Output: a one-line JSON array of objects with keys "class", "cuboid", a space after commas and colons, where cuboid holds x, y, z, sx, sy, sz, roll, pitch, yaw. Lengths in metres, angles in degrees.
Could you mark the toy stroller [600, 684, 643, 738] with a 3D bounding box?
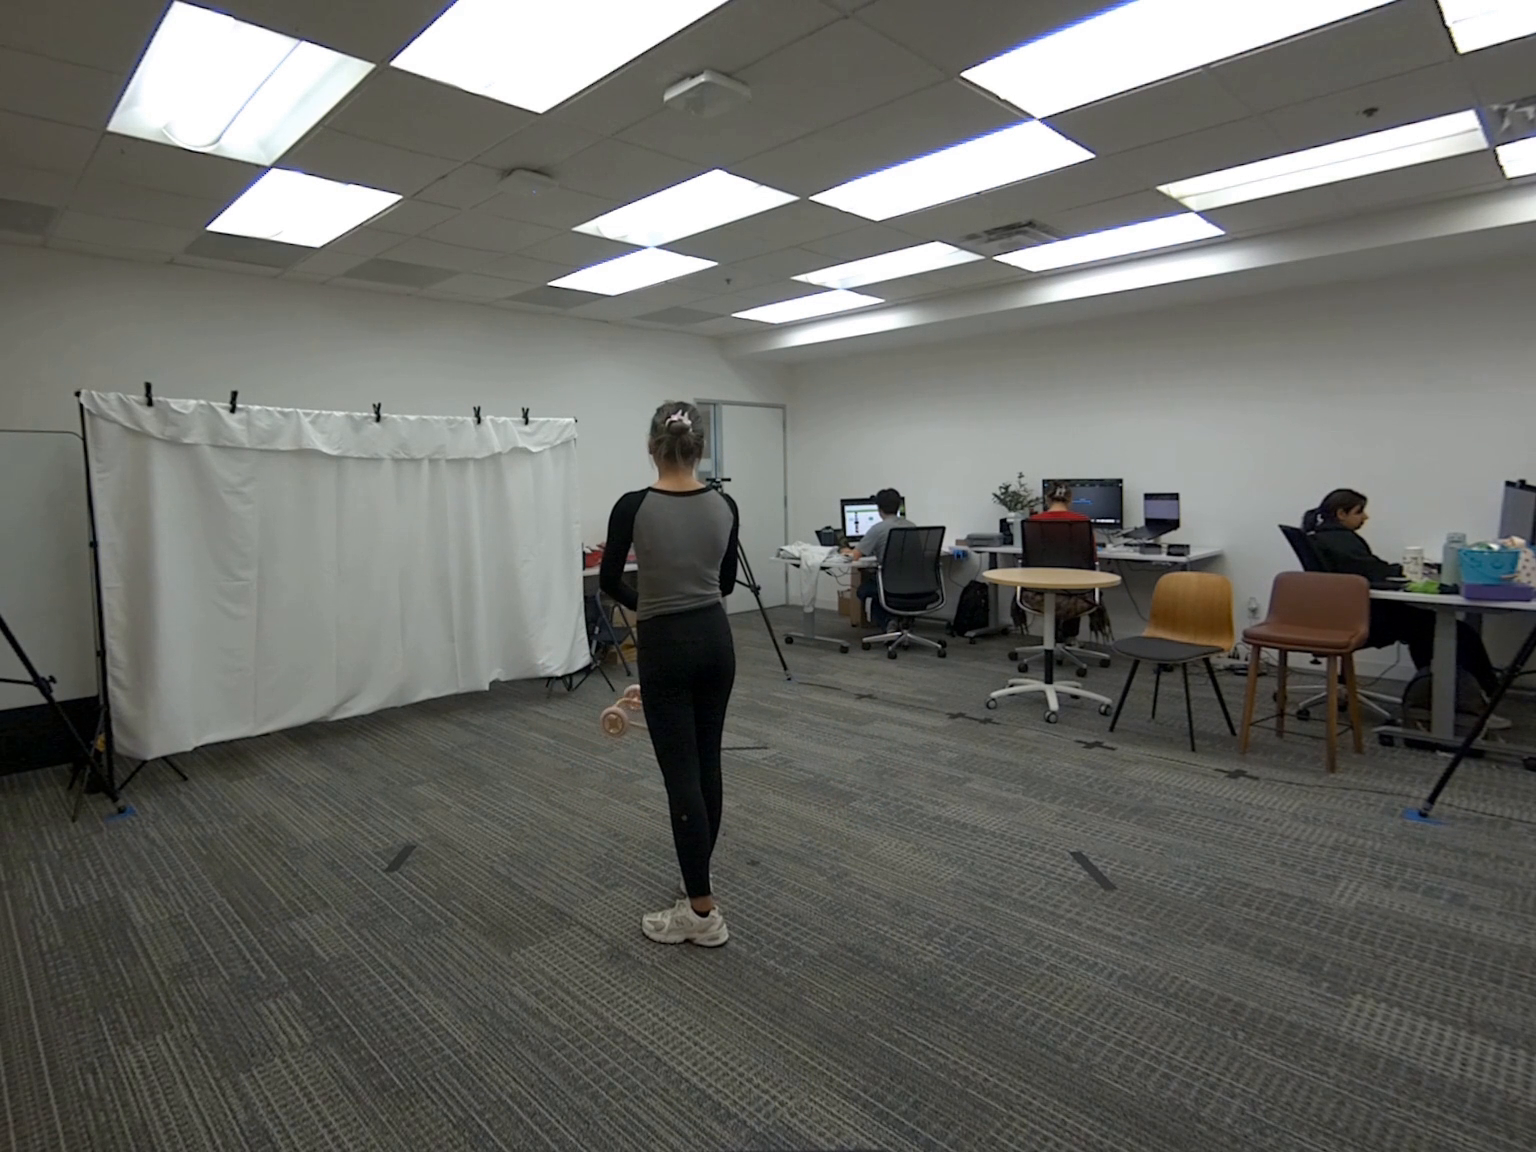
[{"class": "toy stroller", "cuboid": [-0.340, 0.407, 3.084, 0.346, 0.532, 0.279, 27, 13, 10]}]
